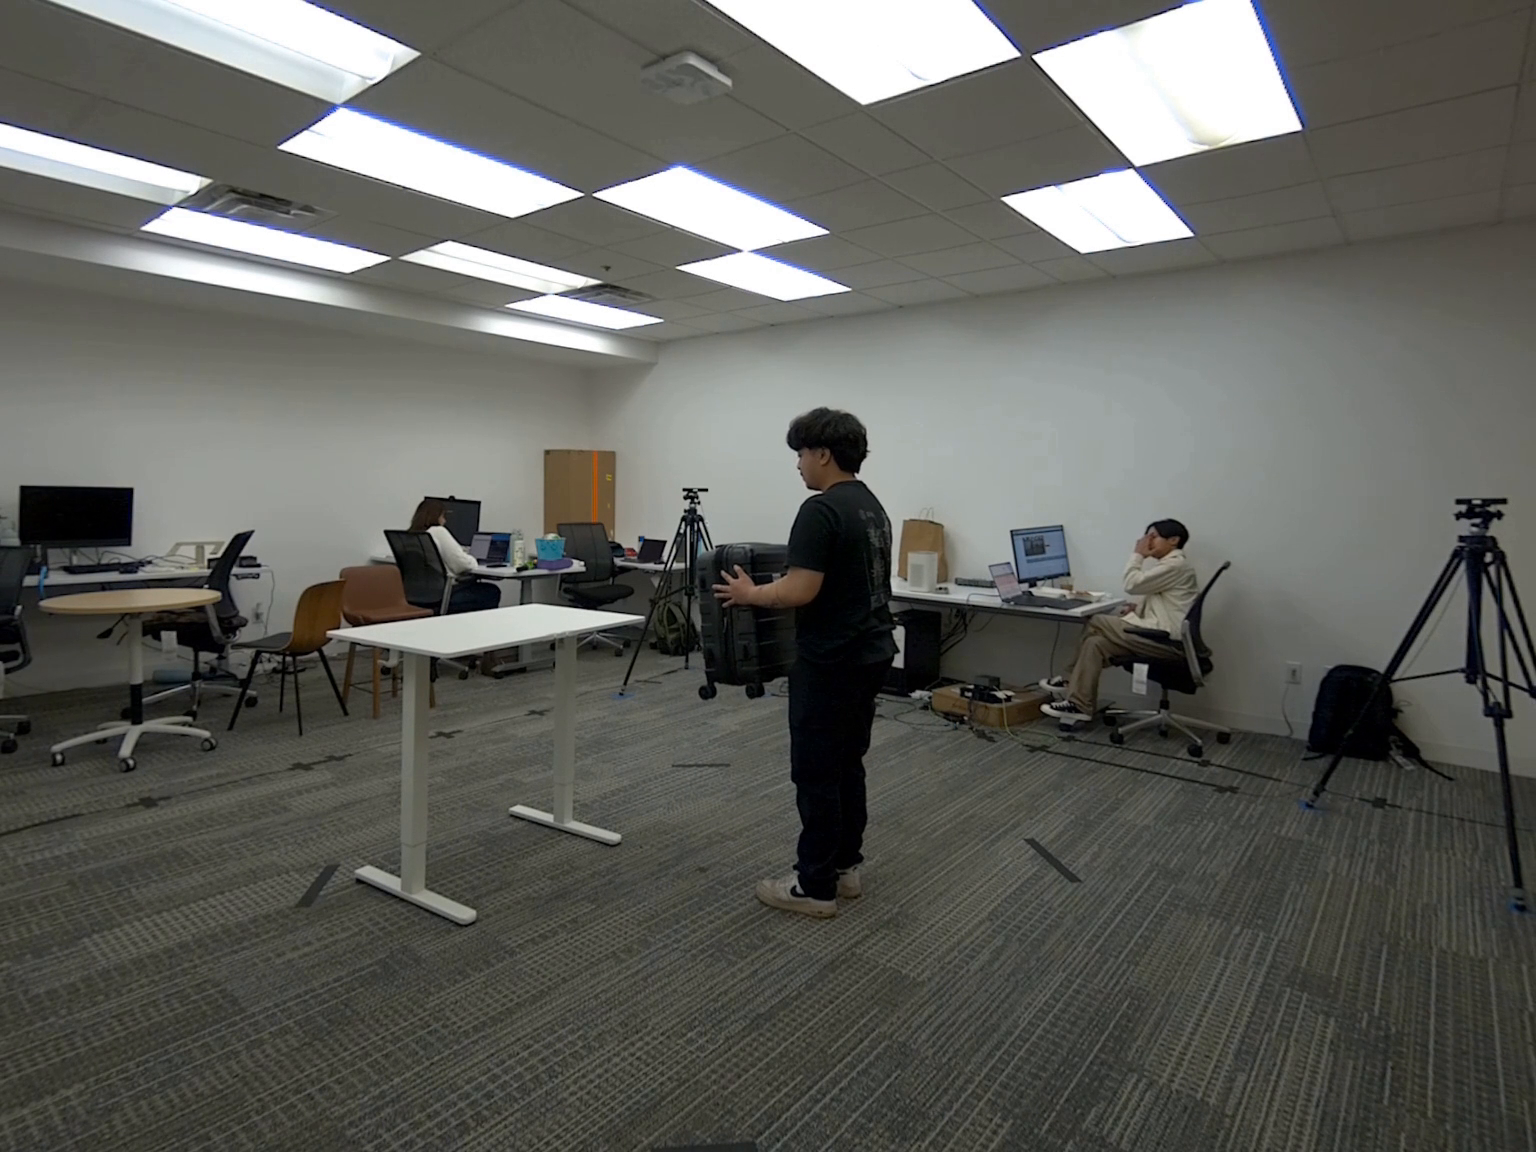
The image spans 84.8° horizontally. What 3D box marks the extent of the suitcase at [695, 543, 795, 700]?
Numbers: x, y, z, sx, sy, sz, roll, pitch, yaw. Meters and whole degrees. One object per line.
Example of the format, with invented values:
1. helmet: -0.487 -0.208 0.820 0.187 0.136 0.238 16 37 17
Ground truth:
1. suitcase: -0.073 0.150 3.133 0.254 0.552 0.364 -8 -4 32
